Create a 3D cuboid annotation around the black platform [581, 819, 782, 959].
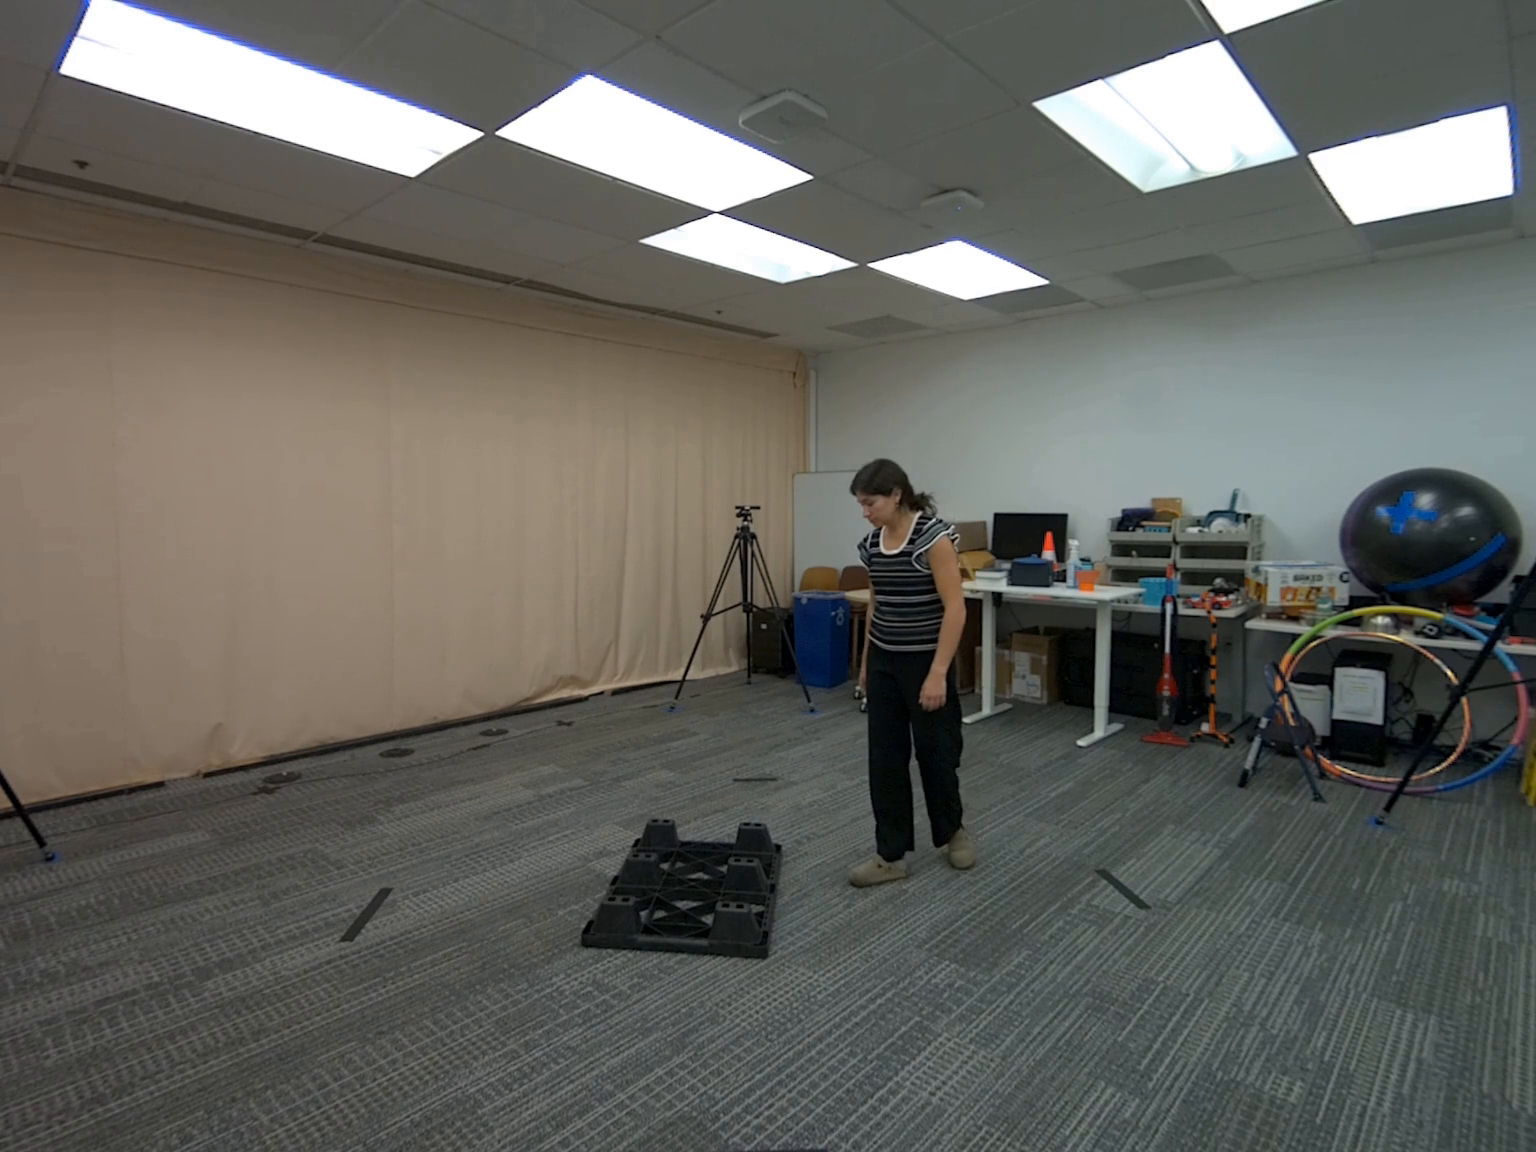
[{"bbox_3d":[-0.271,1.075,3.013,0.609,0.143,0.802,0,5,5],"label":"black platform"}]
